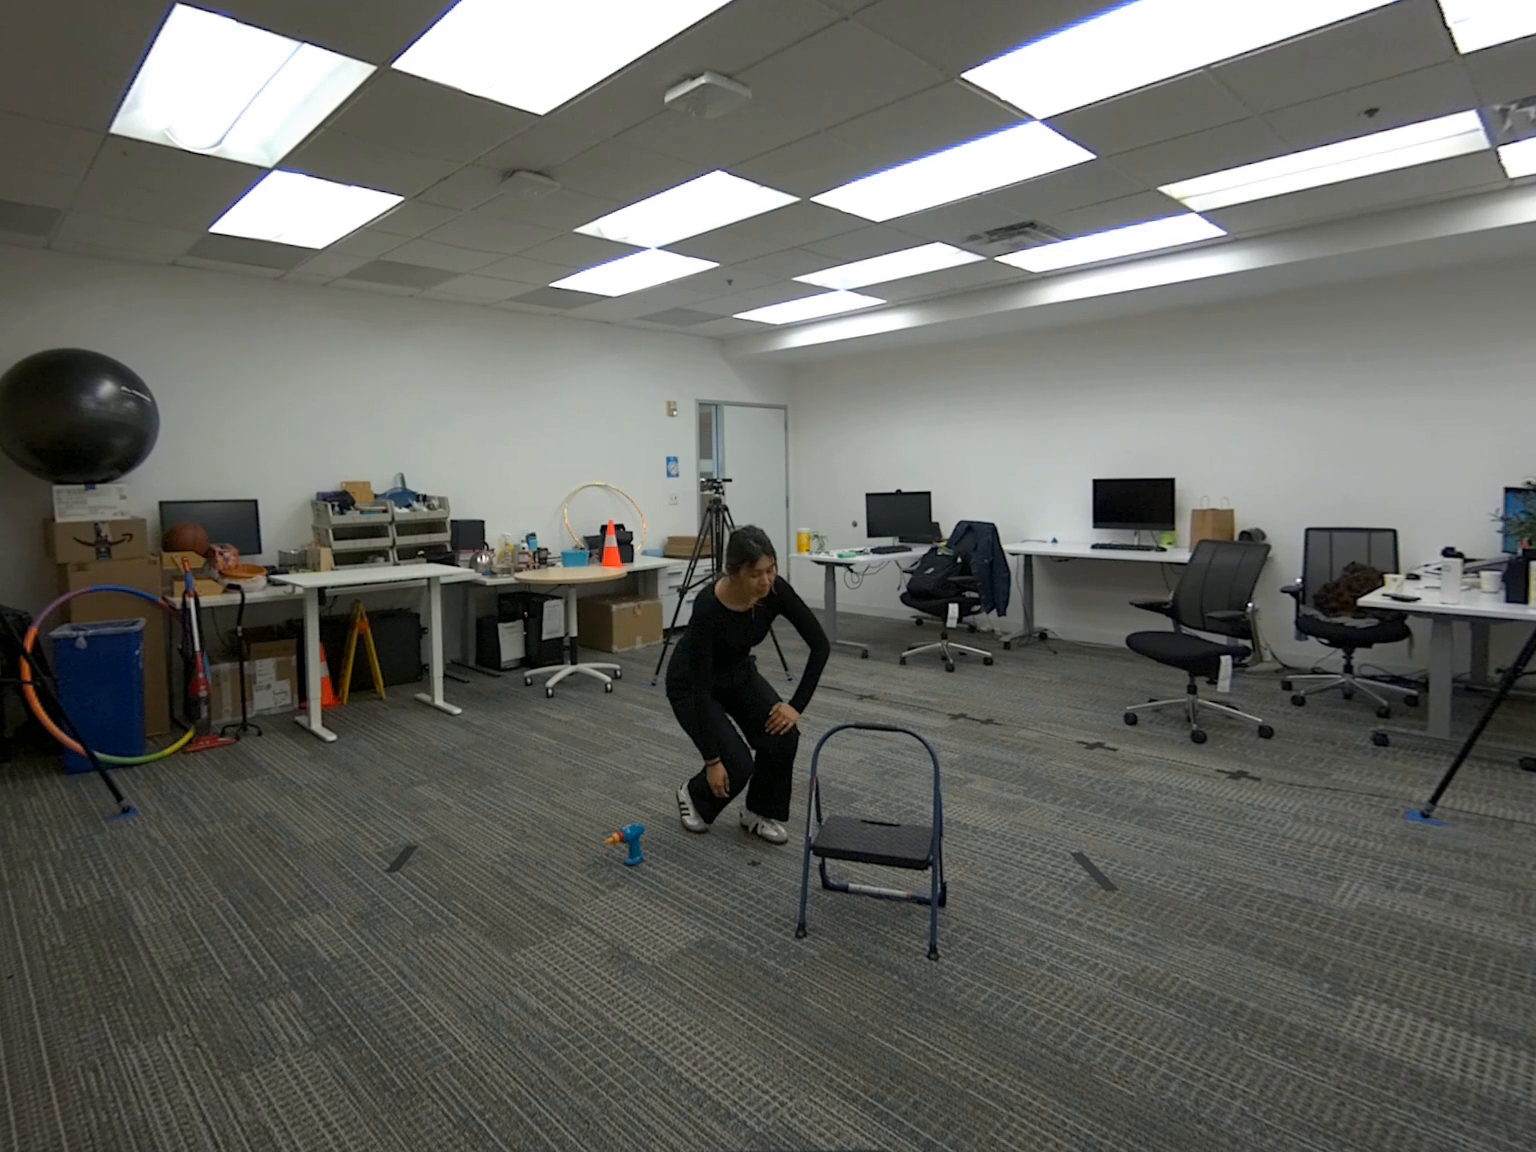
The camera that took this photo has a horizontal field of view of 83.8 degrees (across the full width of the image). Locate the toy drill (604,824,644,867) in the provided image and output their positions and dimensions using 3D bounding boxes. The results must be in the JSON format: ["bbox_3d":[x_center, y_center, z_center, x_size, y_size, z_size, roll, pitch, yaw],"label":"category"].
[{"bbox_3d":[-0.515,0.979,3.100,0.165,0.145,0.063,-8,8,-41],"label":"toy drill"}]
